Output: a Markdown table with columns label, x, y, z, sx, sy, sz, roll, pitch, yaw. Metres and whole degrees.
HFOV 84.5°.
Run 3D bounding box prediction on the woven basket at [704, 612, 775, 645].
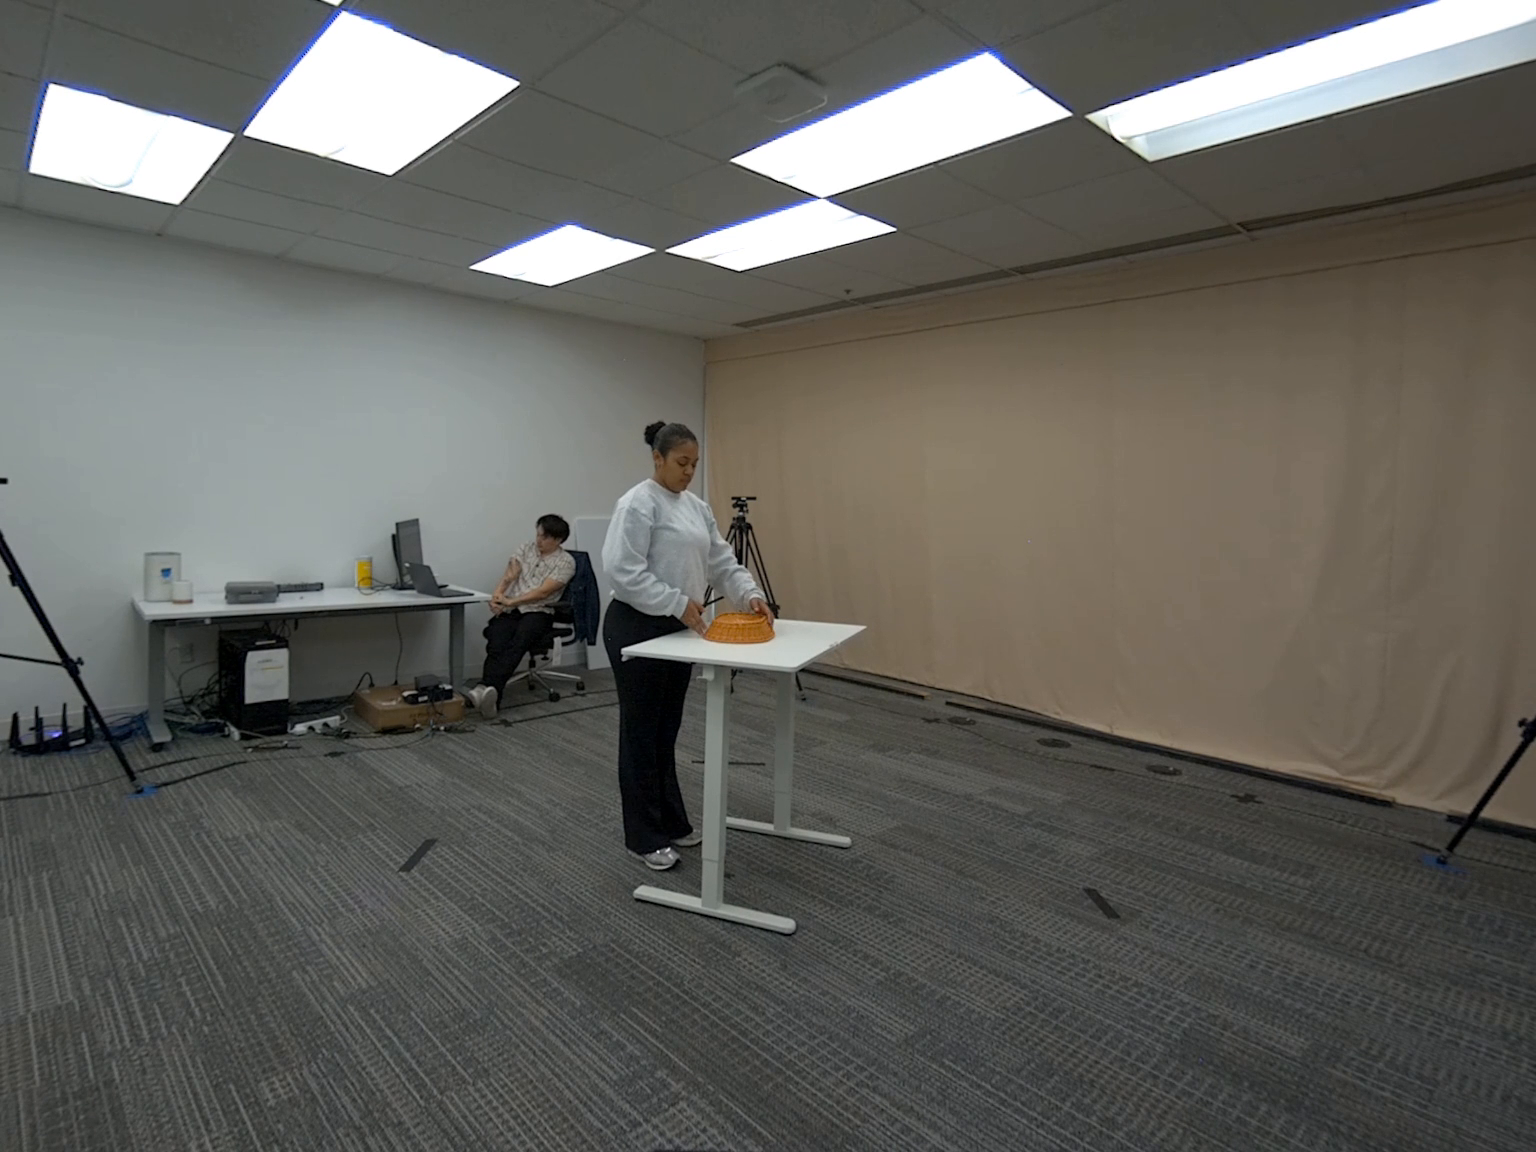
| label | x | y | z | sx | sy | sz | roll | pitch | yaw |
| --- | --- | --- | --- | --- | --- | --- | --- | --- | --- |
| woven basket | -0.130 | 0.194 | 3.107 | 0.254 | 0.073 | 0.348 | 3 | 6 | 9 |
